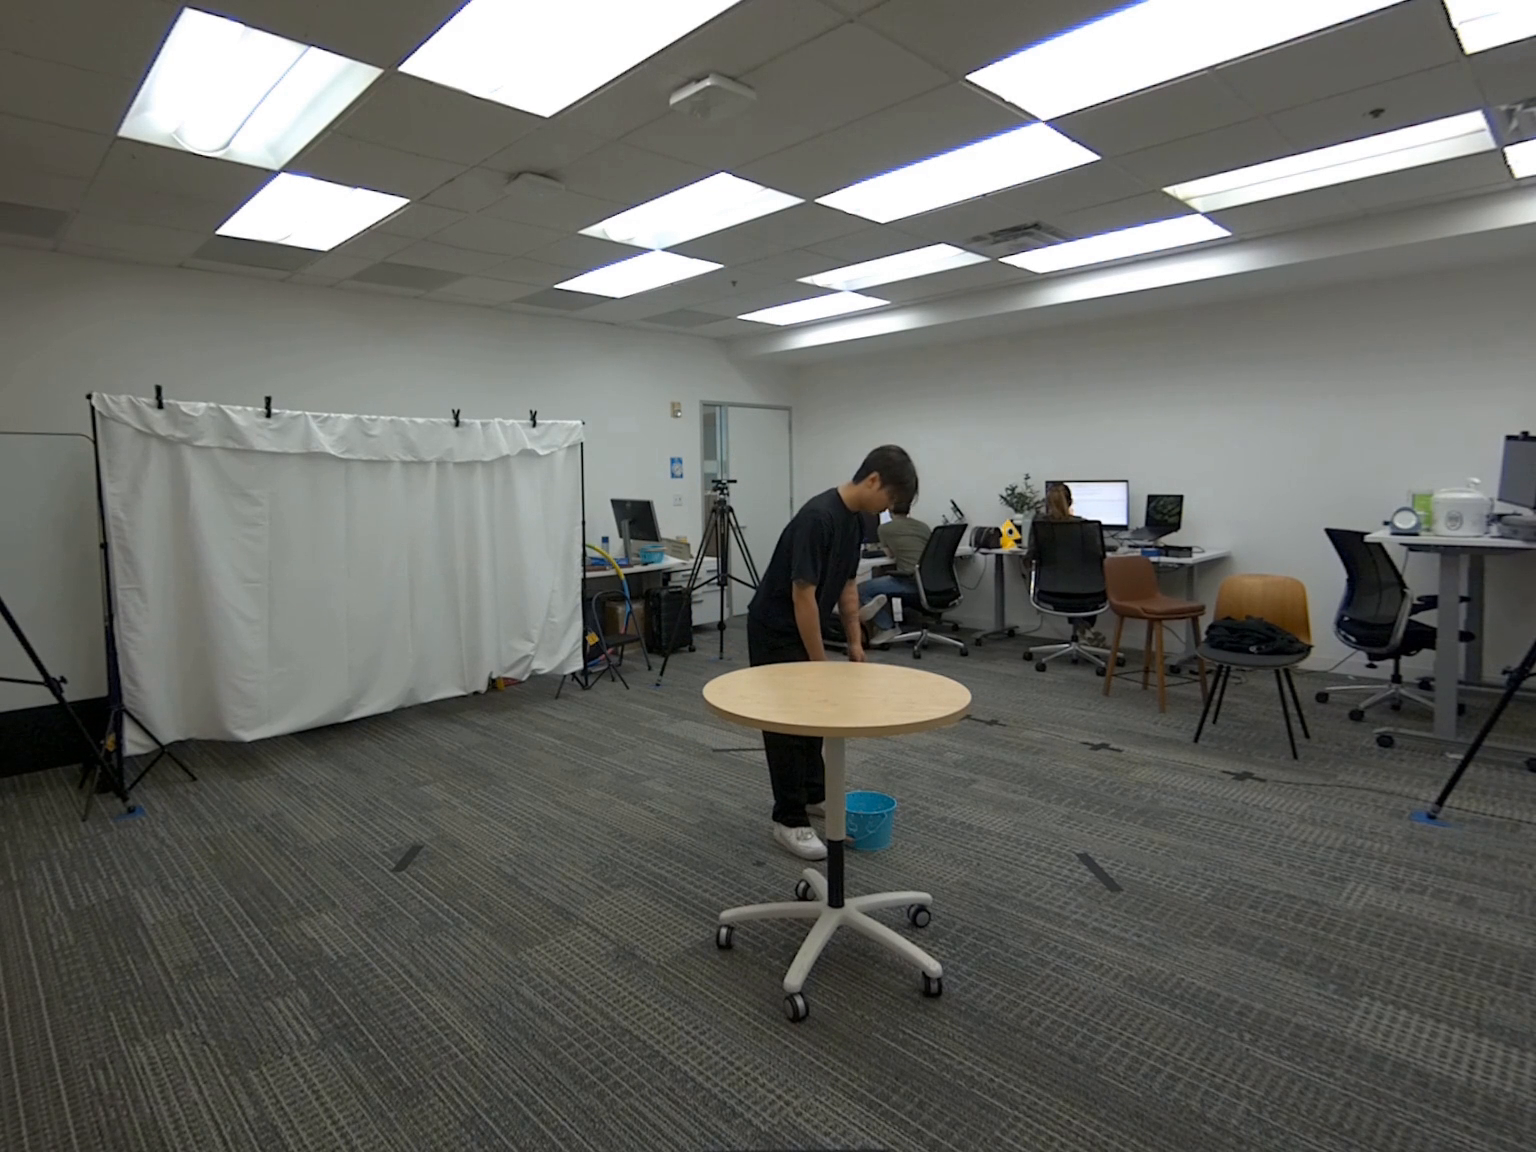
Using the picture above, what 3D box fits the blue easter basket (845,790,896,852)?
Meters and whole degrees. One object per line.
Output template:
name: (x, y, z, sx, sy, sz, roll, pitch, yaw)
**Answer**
blue easter basket: (0.368, 0.936, 3.286, 0.243, 0.155, 0.245, 0, 5, -2)
